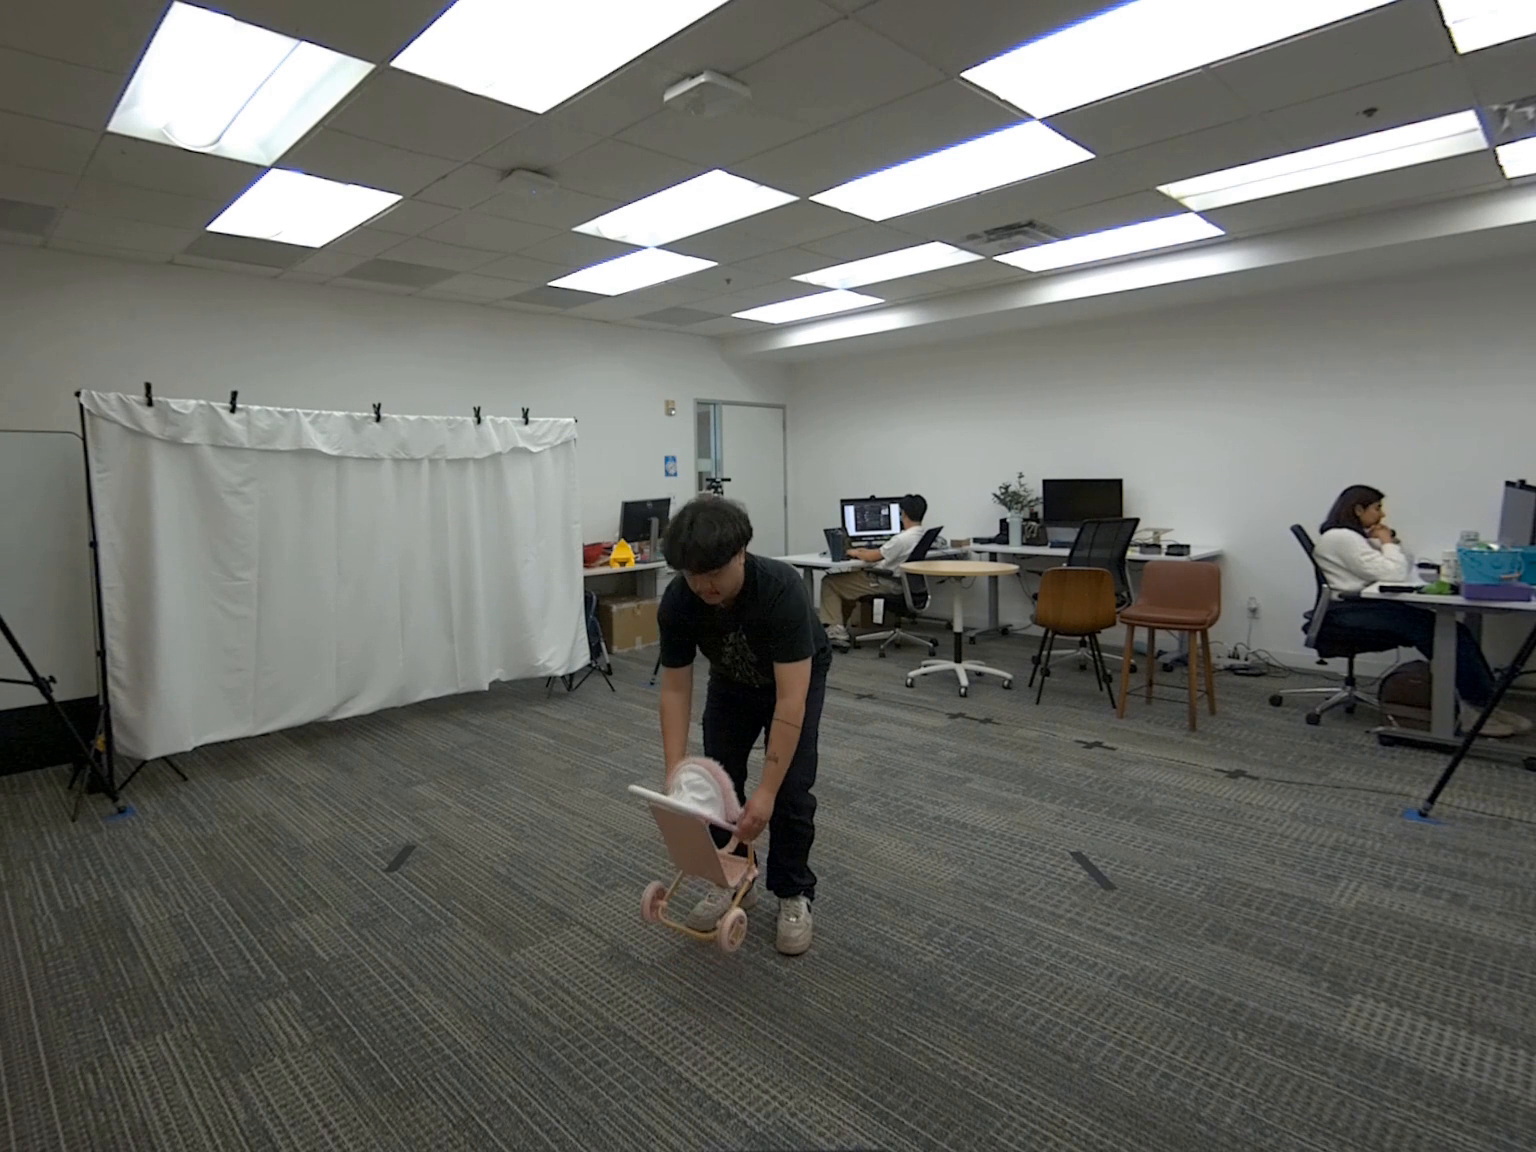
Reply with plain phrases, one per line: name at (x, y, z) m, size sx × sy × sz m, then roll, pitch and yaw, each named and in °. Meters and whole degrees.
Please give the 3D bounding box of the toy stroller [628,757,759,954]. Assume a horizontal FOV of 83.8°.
toy stroller at (-0.161, 0.713, 2.273) m, size 0.290 × 0.525 × 0.337 m, roll 6°, pitch 23°, yaw 35°
